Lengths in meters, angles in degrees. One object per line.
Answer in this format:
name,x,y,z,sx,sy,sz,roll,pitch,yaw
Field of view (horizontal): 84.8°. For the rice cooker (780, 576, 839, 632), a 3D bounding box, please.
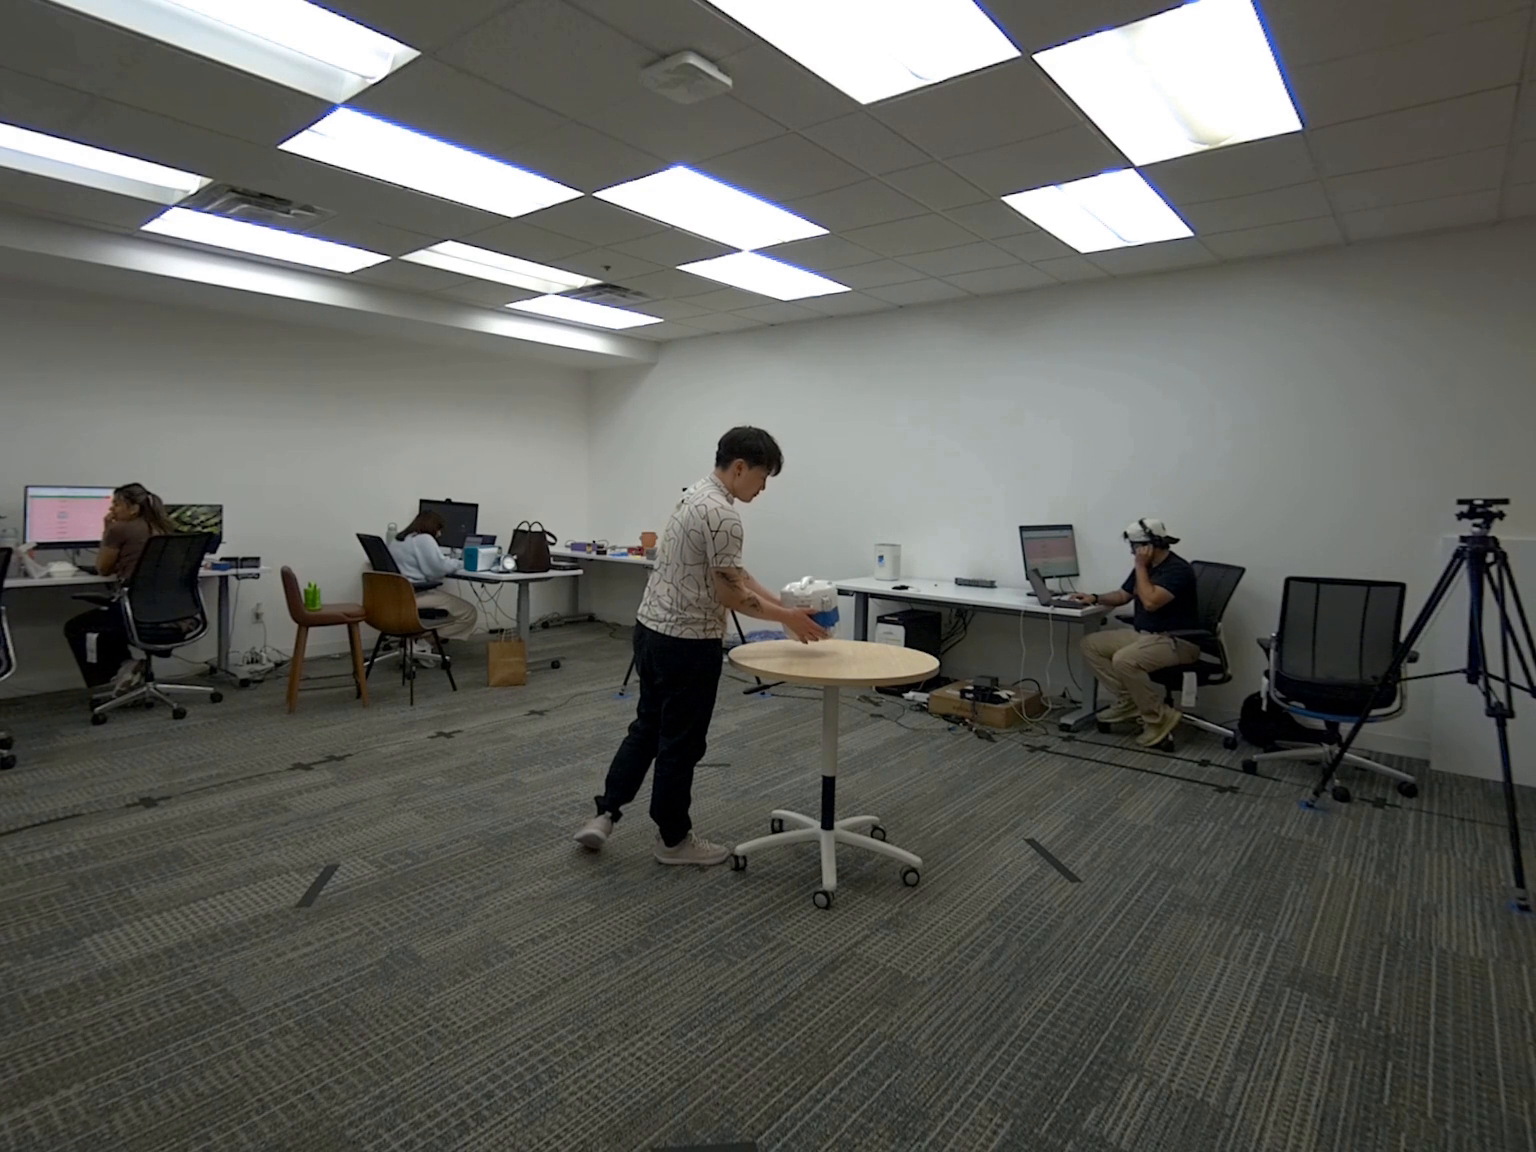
rice cooker,0.146,0.116,3.185,0.221,0.232,0.218,-4,5,17
